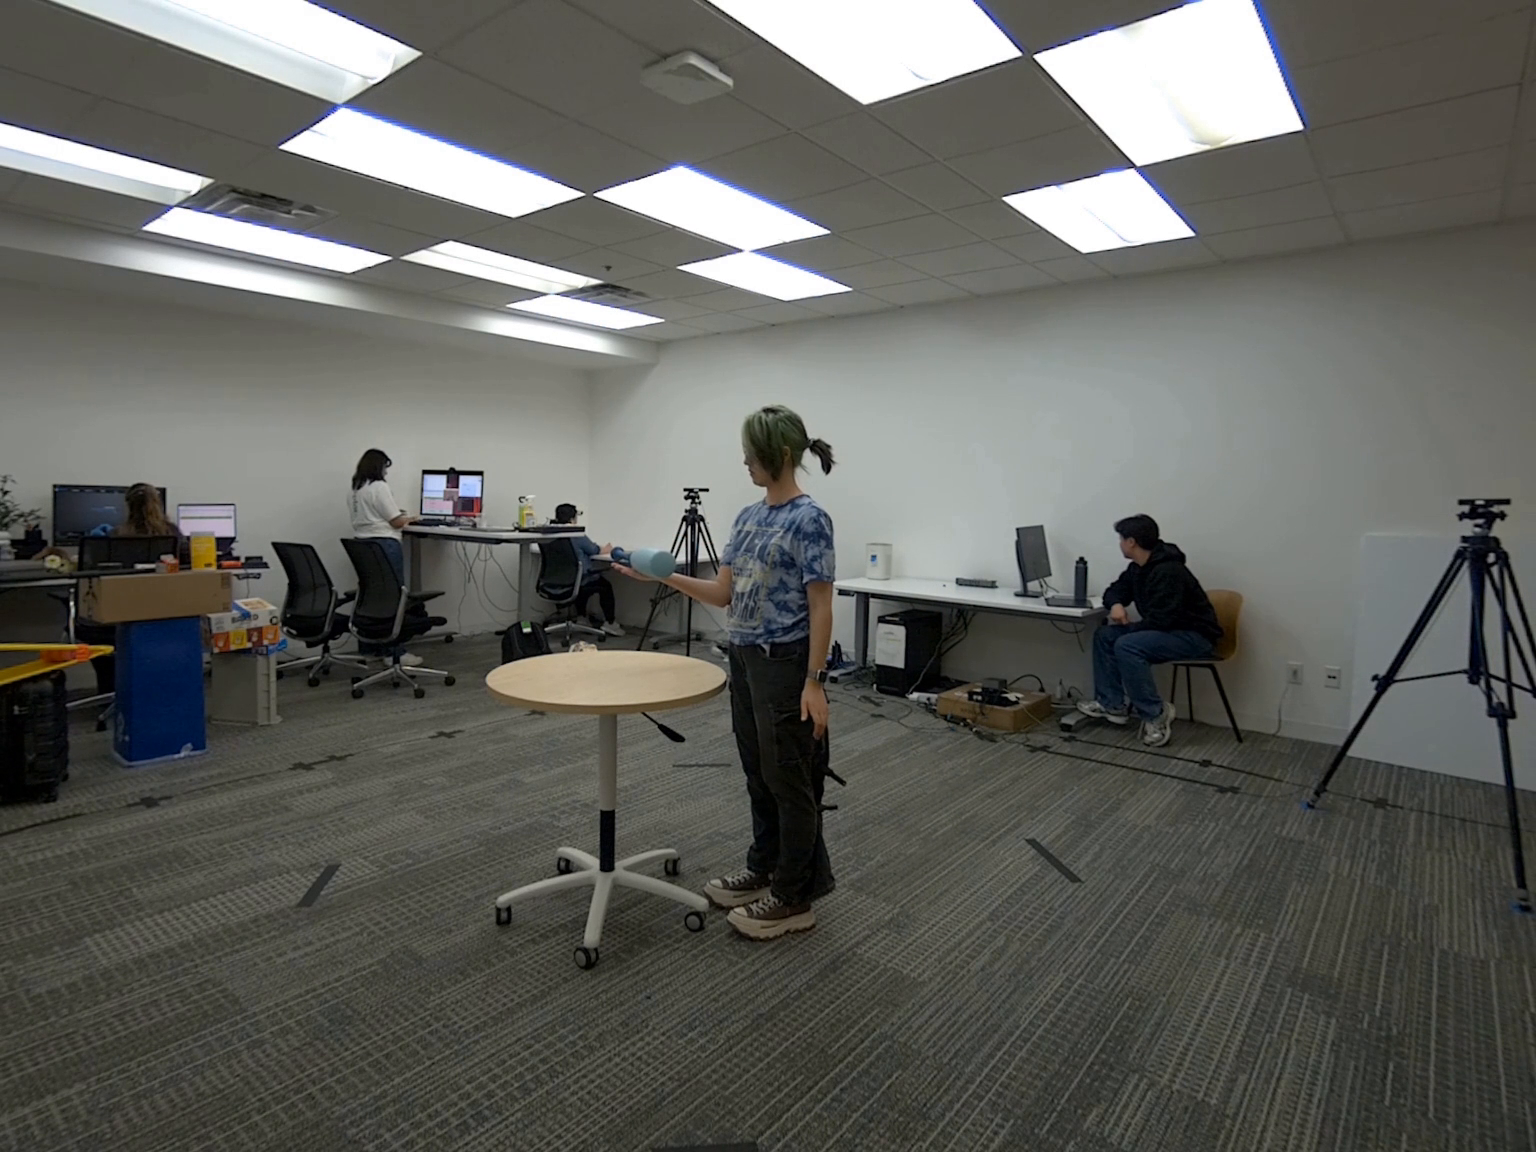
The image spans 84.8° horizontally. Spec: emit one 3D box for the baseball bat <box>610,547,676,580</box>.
[{"bbox_3d":[-0.437,-0.056,2.737,0.087,0.089,0.556,-1,4,-24],"label":"baseball bat"}]
